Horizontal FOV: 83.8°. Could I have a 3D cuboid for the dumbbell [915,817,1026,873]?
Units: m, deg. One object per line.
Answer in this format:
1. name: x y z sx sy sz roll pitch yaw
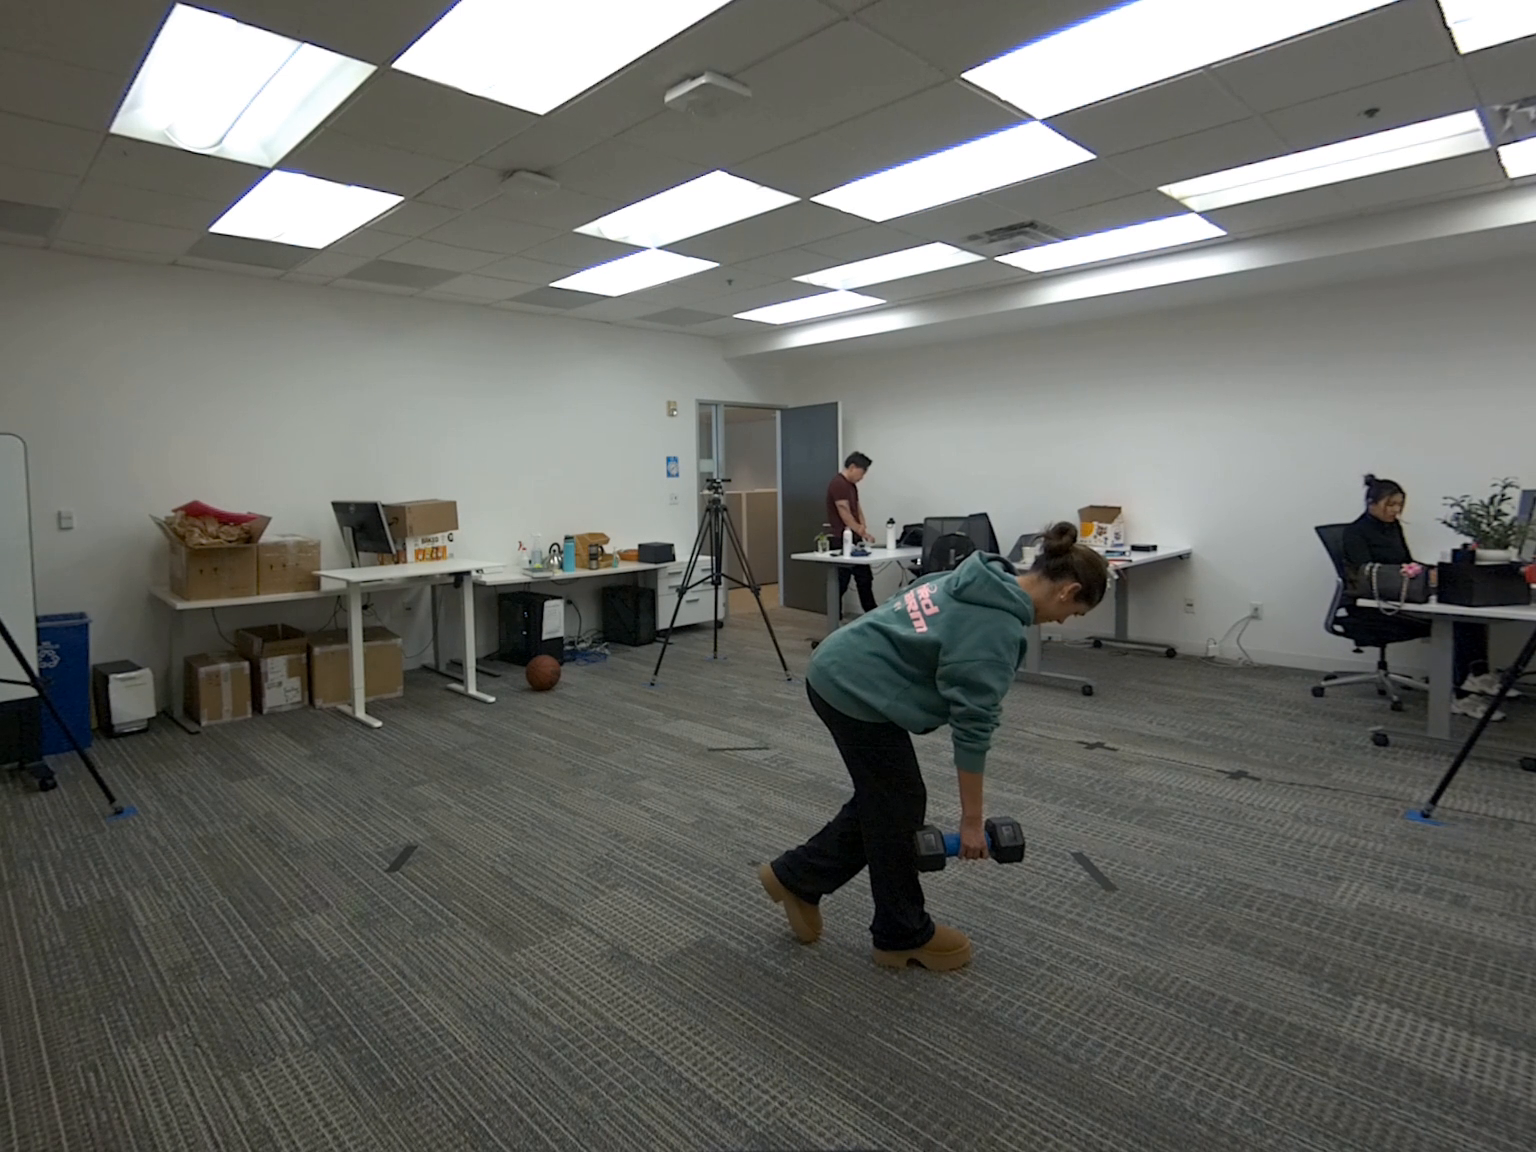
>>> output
1. dumbbell: 0.534 0.717 2.301 0.293 0.120 0.111 -6 26 -2
